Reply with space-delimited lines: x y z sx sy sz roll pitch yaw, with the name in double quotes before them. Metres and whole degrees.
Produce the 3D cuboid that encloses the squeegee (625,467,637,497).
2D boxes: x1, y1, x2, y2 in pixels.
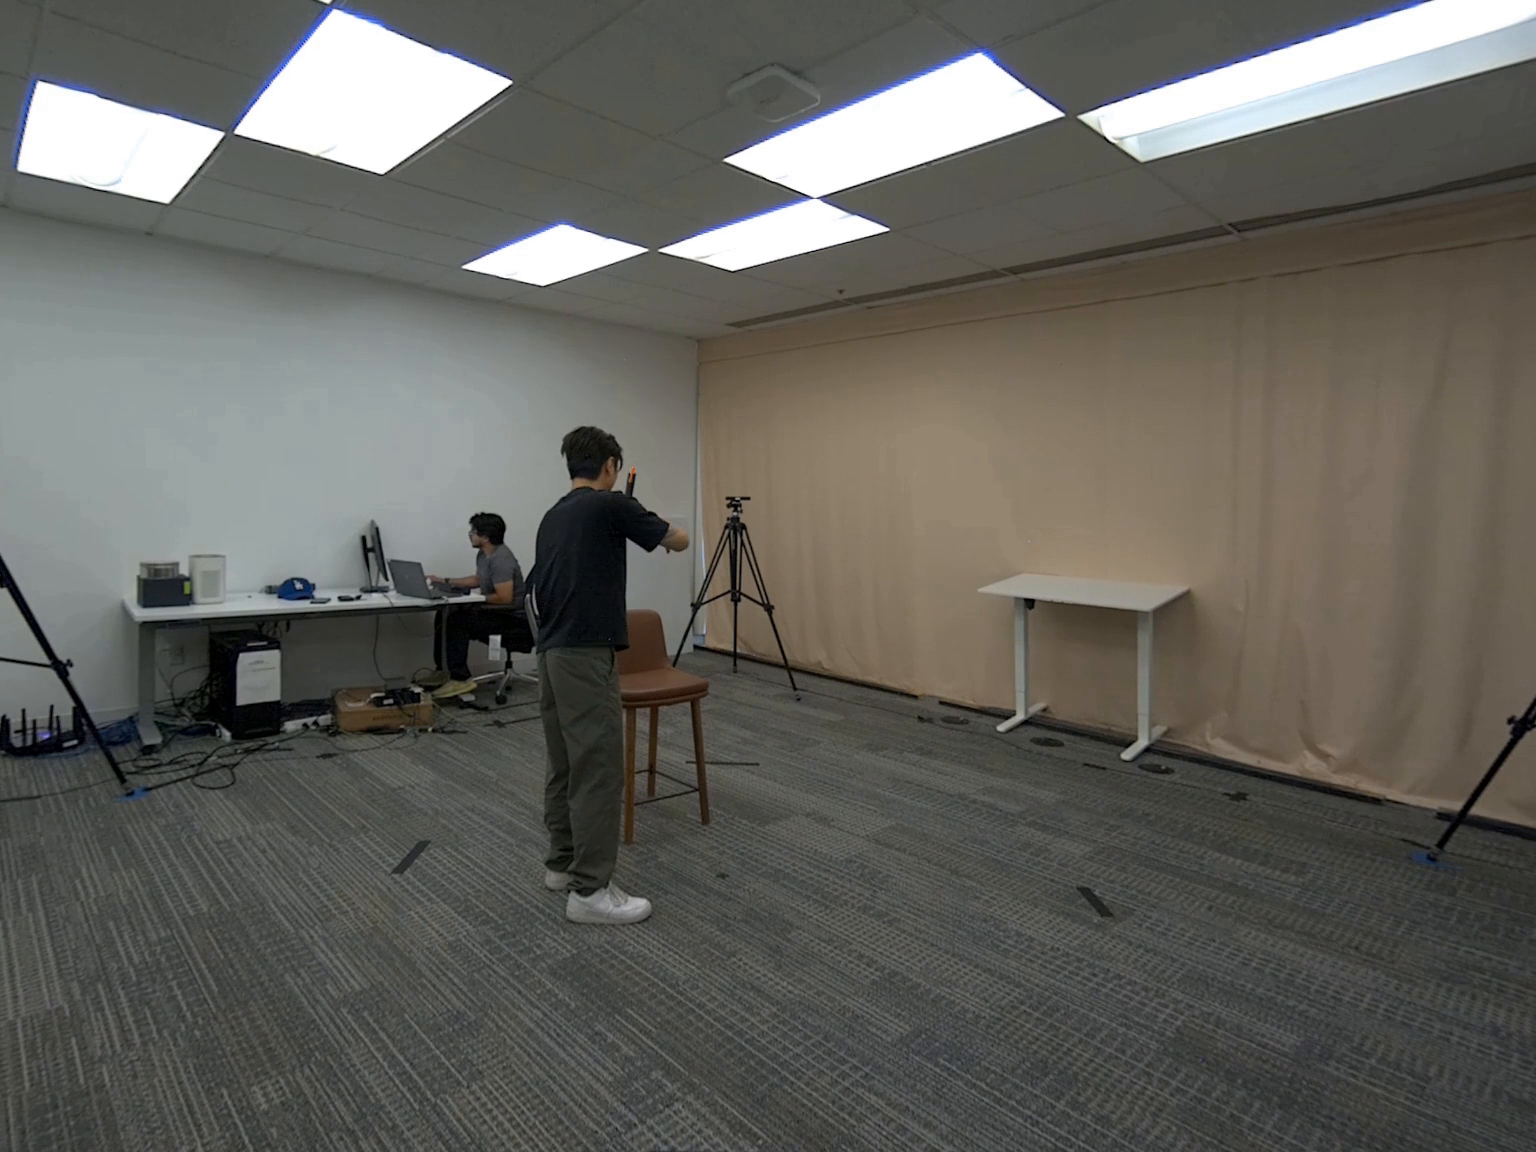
"squeegee" -0.685 0.295 3.484 0.051 1.541 0.447 9 -4 -37
